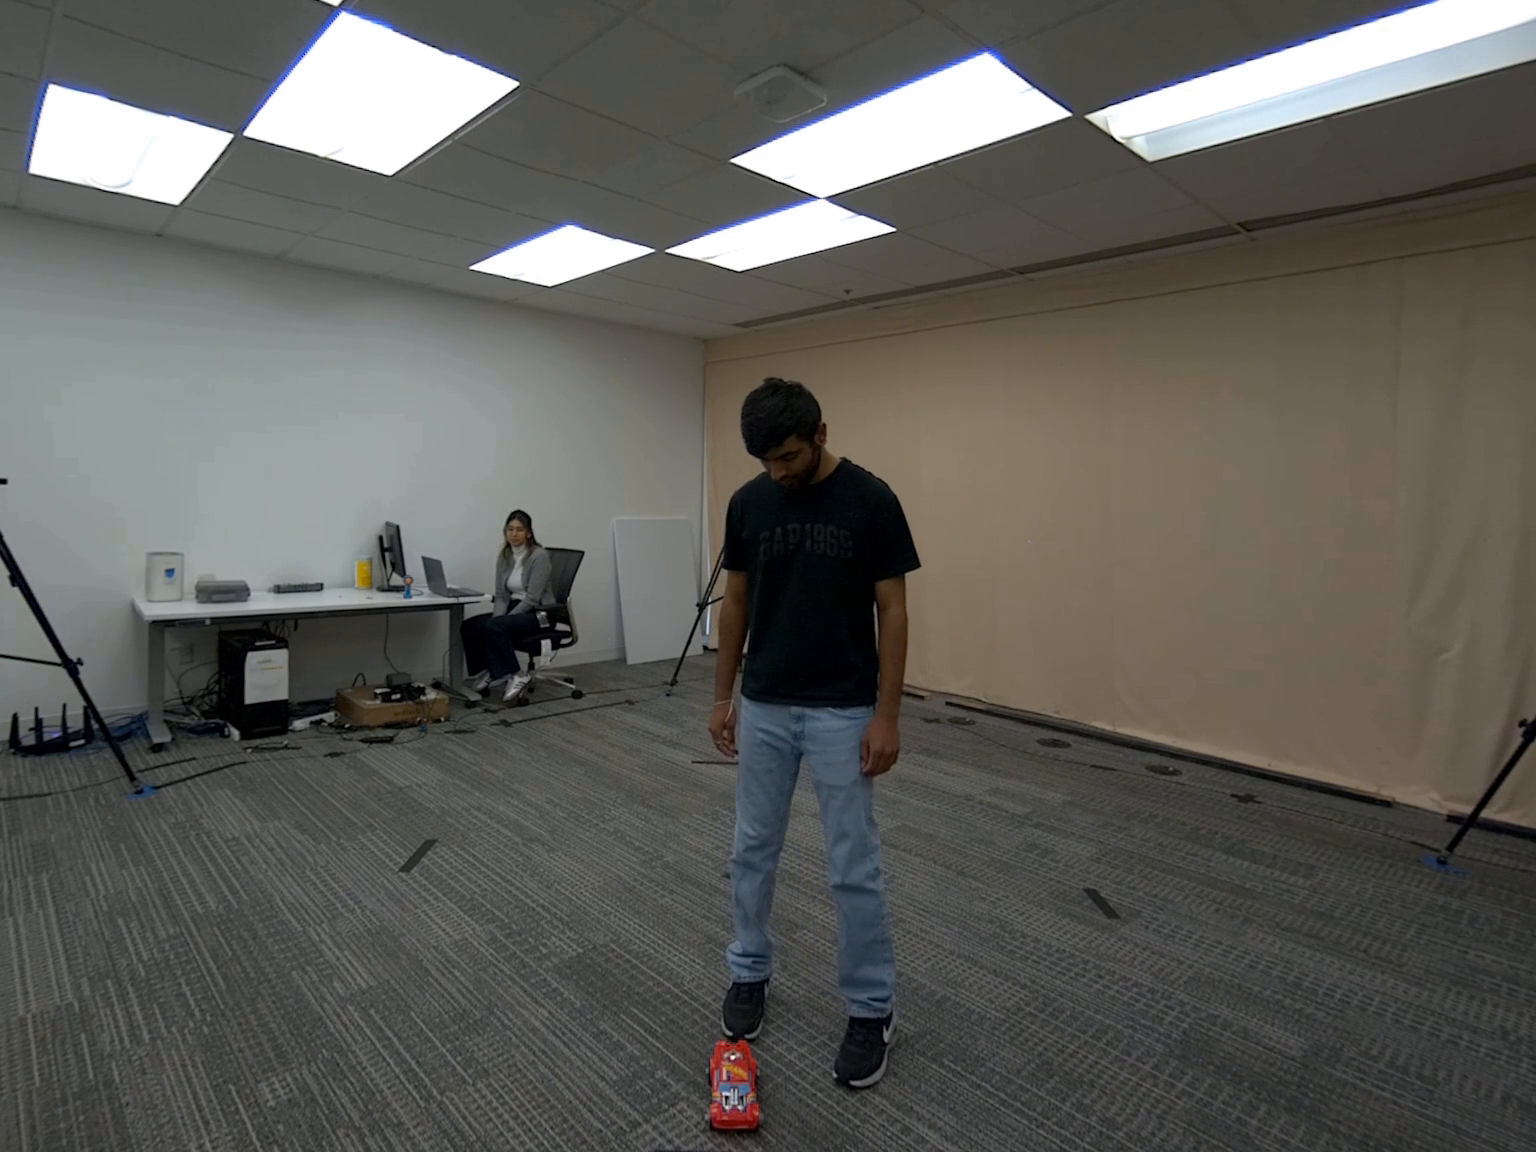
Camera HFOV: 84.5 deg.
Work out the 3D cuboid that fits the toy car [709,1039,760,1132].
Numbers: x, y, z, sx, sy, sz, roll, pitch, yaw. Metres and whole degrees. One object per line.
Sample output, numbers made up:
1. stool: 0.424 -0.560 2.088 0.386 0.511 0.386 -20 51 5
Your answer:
1. toy car: -0.090 1.189 1.946 0.130 0.082 0.258 0 15 -3
